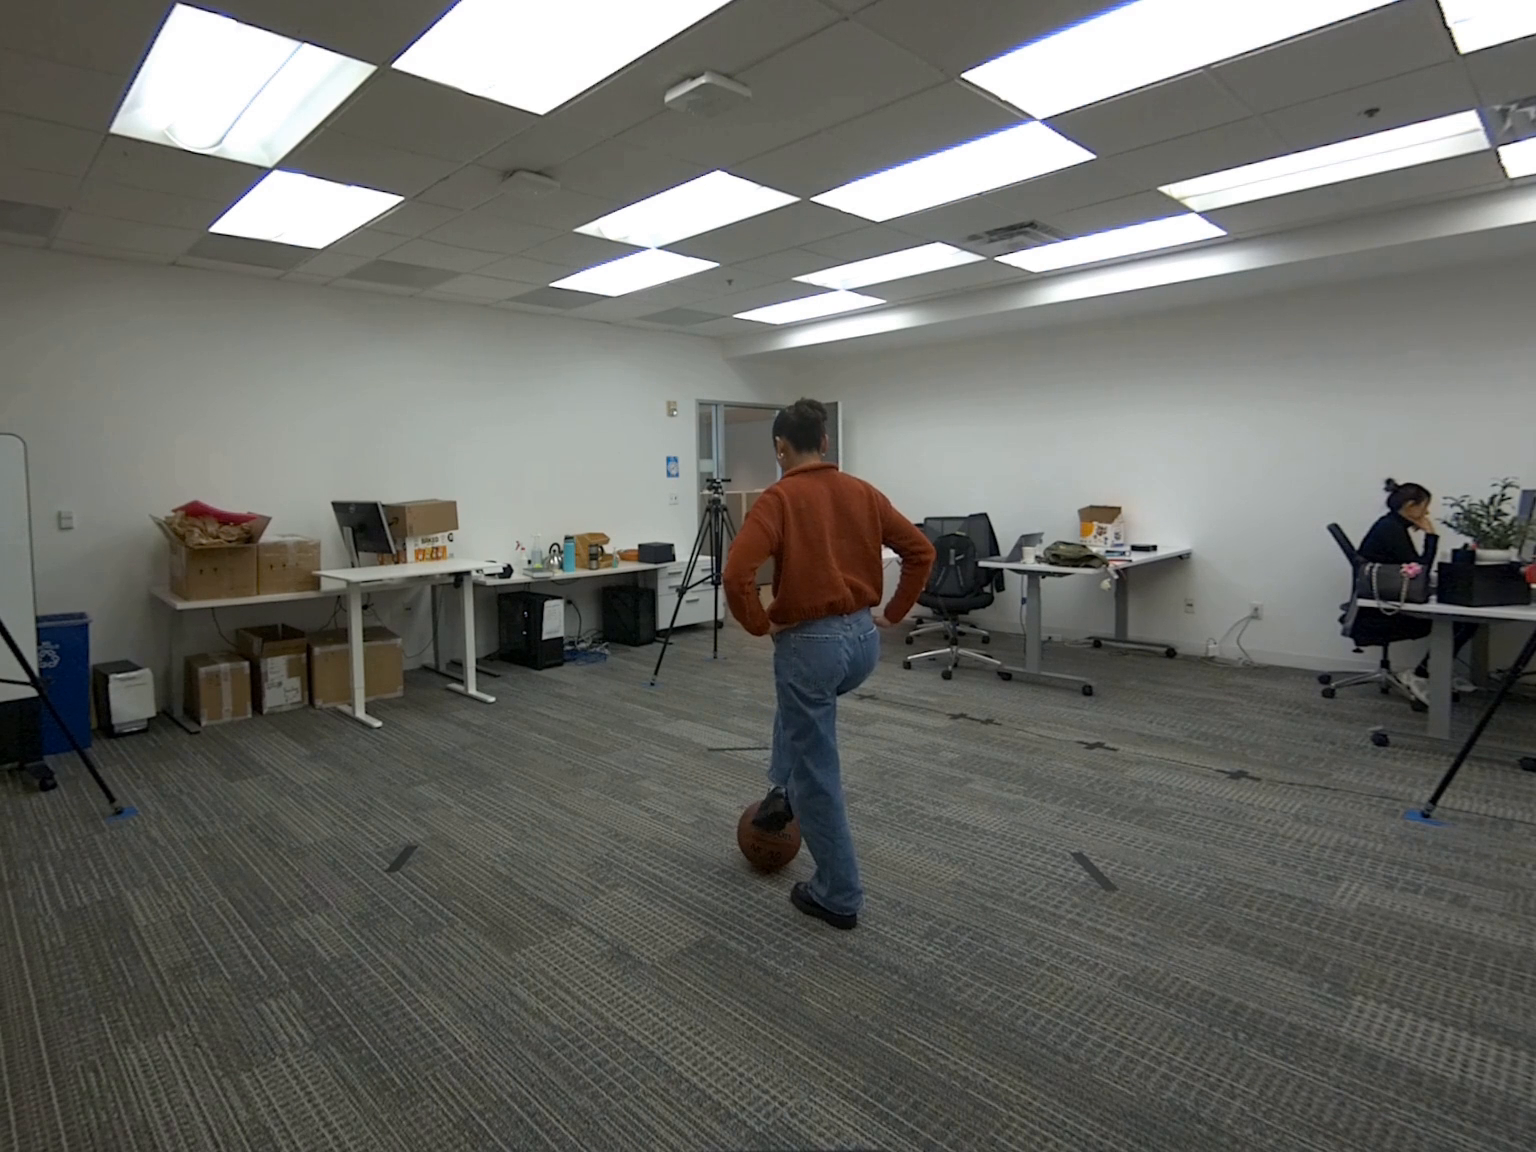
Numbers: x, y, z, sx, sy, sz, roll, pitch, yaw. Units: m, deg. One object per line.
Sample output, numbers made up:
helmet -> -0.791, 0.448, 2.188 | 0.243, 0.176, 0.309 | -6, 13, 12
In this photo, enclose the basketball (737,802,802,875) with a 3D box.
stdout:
basketball -> 0.008, 0.926, 3.081 | 0.236, 0.235, 0.237 | -1, 5, -2
